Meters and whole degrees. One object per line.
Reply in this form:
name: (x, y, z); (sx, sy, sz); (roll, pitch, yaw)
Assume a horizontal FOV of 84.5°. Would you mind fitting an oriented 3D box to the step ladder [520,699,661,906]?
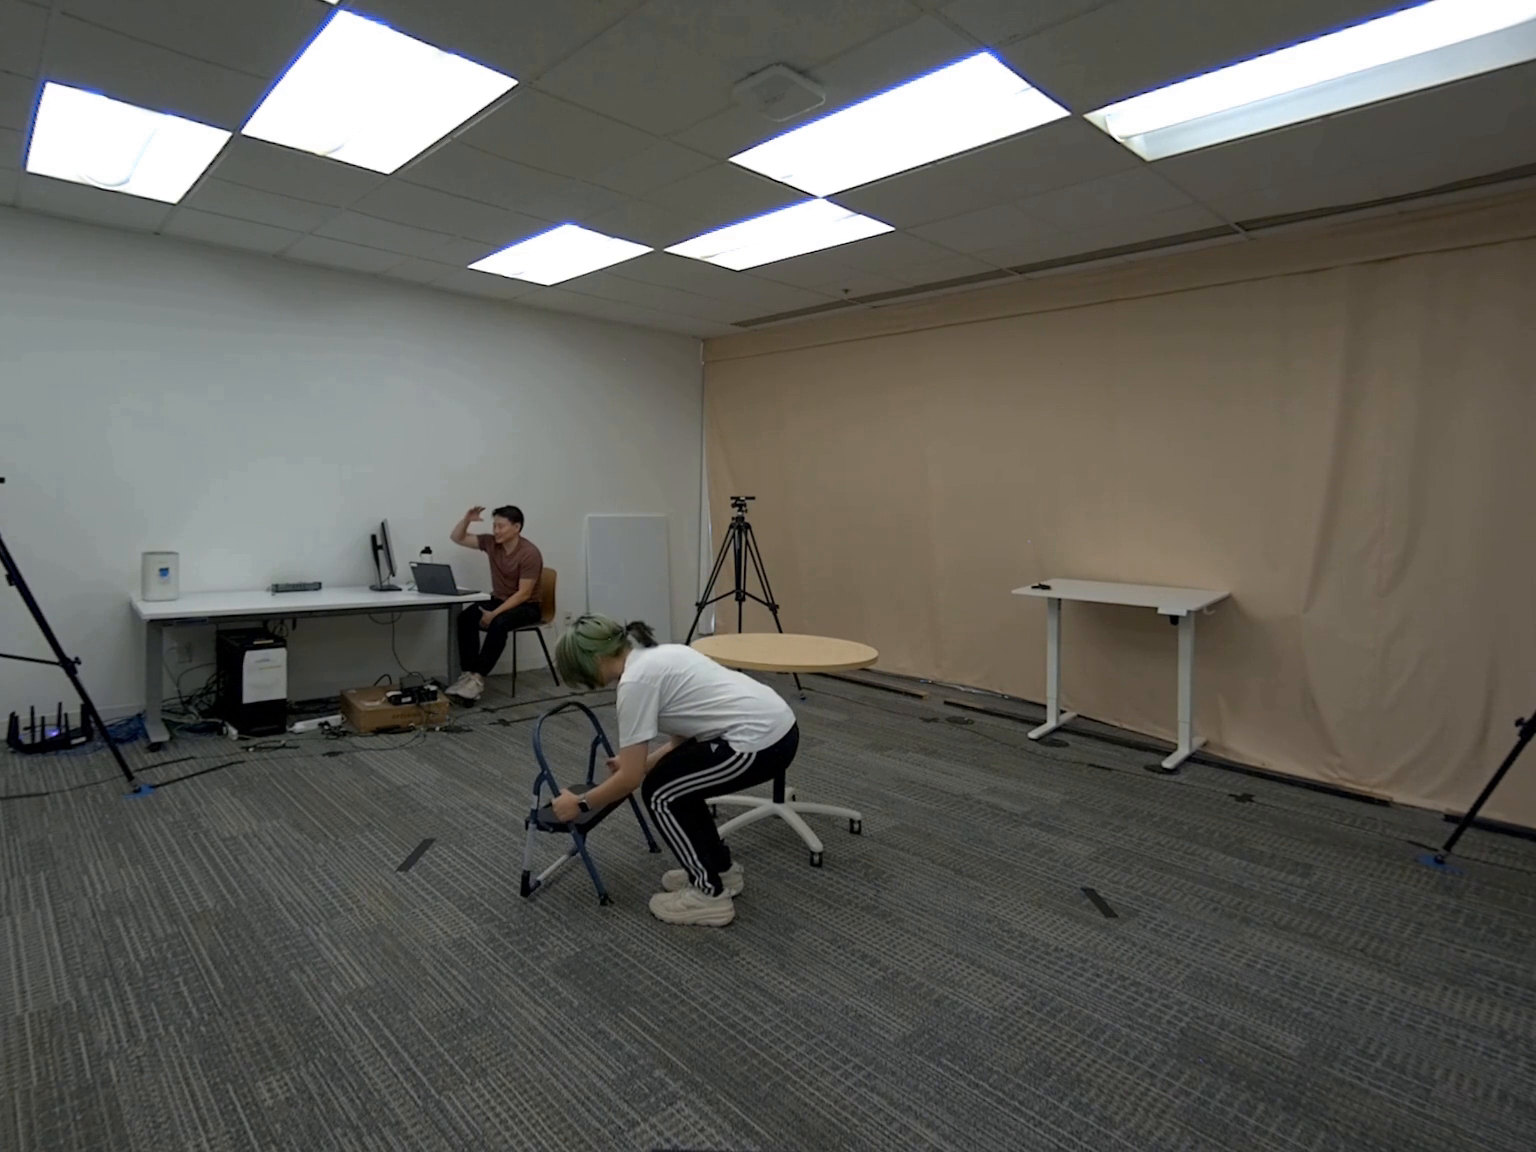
step ladder: (-0.659, 0.755, 2.982); (0.354, 0.604, 0.426); (-4, 4, 18)
